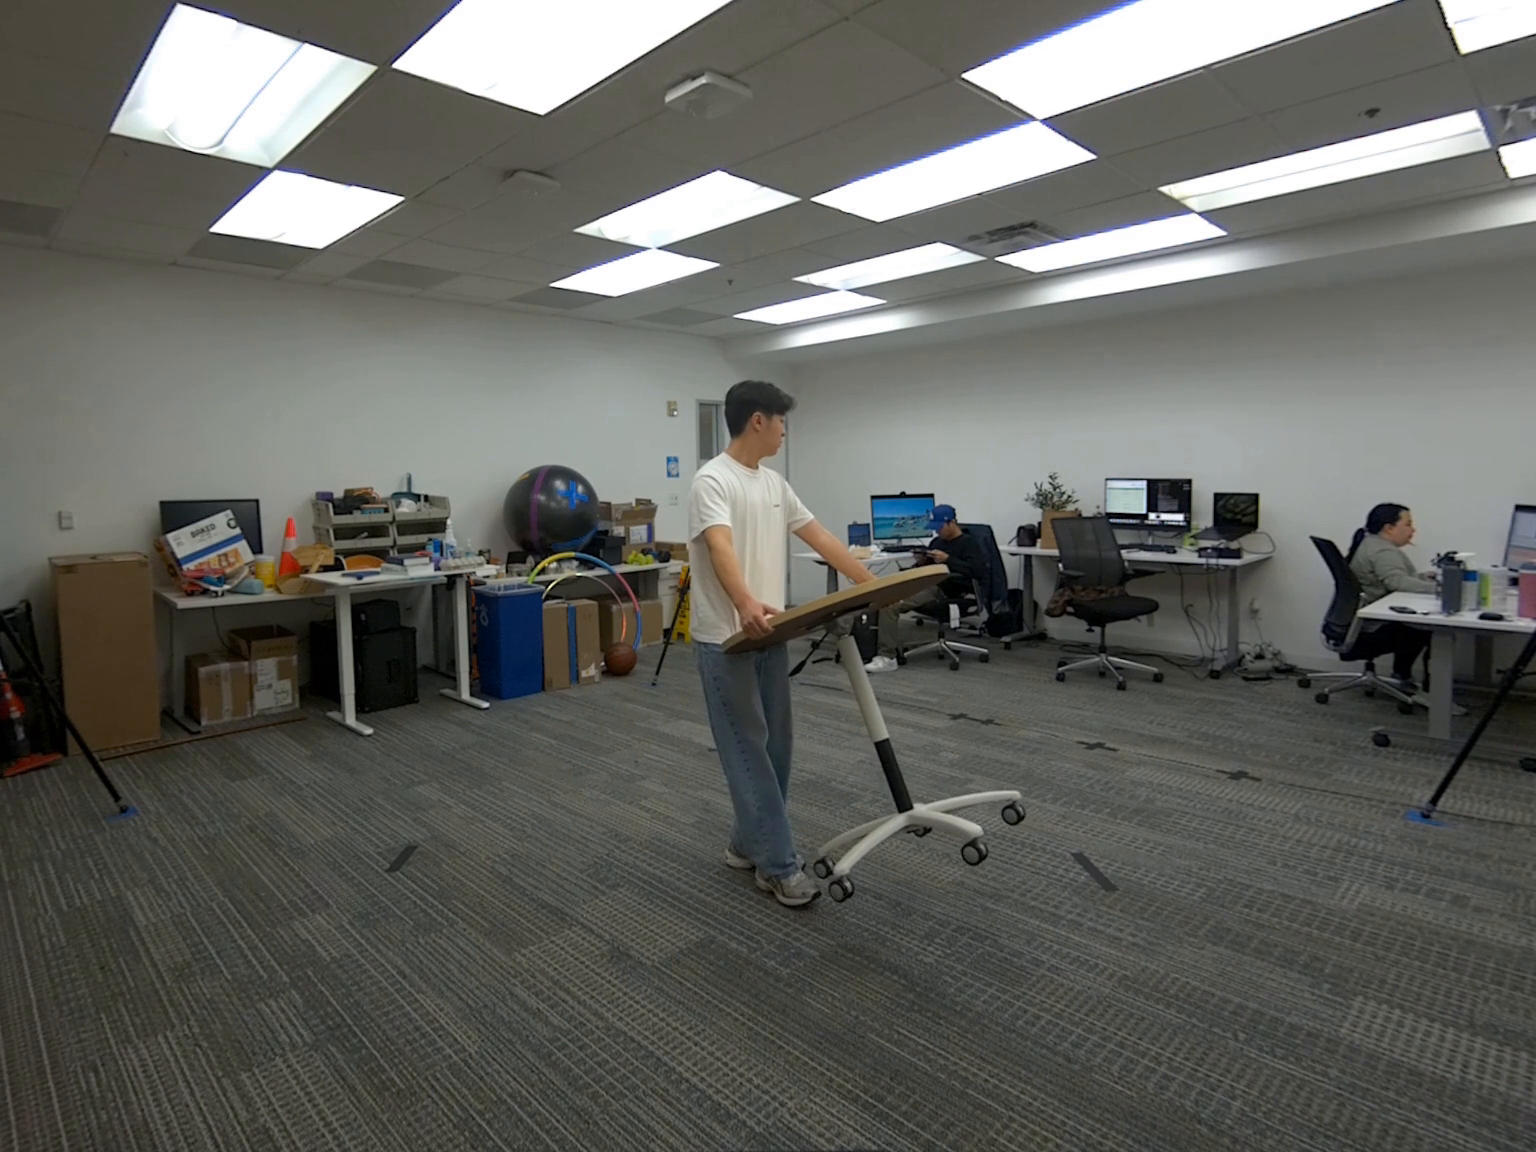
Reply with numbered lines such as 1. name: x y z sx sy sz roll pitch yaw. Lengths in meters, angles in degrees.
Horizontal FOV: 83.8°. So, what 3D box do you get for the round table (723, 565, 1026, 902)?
1. round table: 0.349 0.485 2.678 0.761 0.805 0.756 -18 -10 -5
